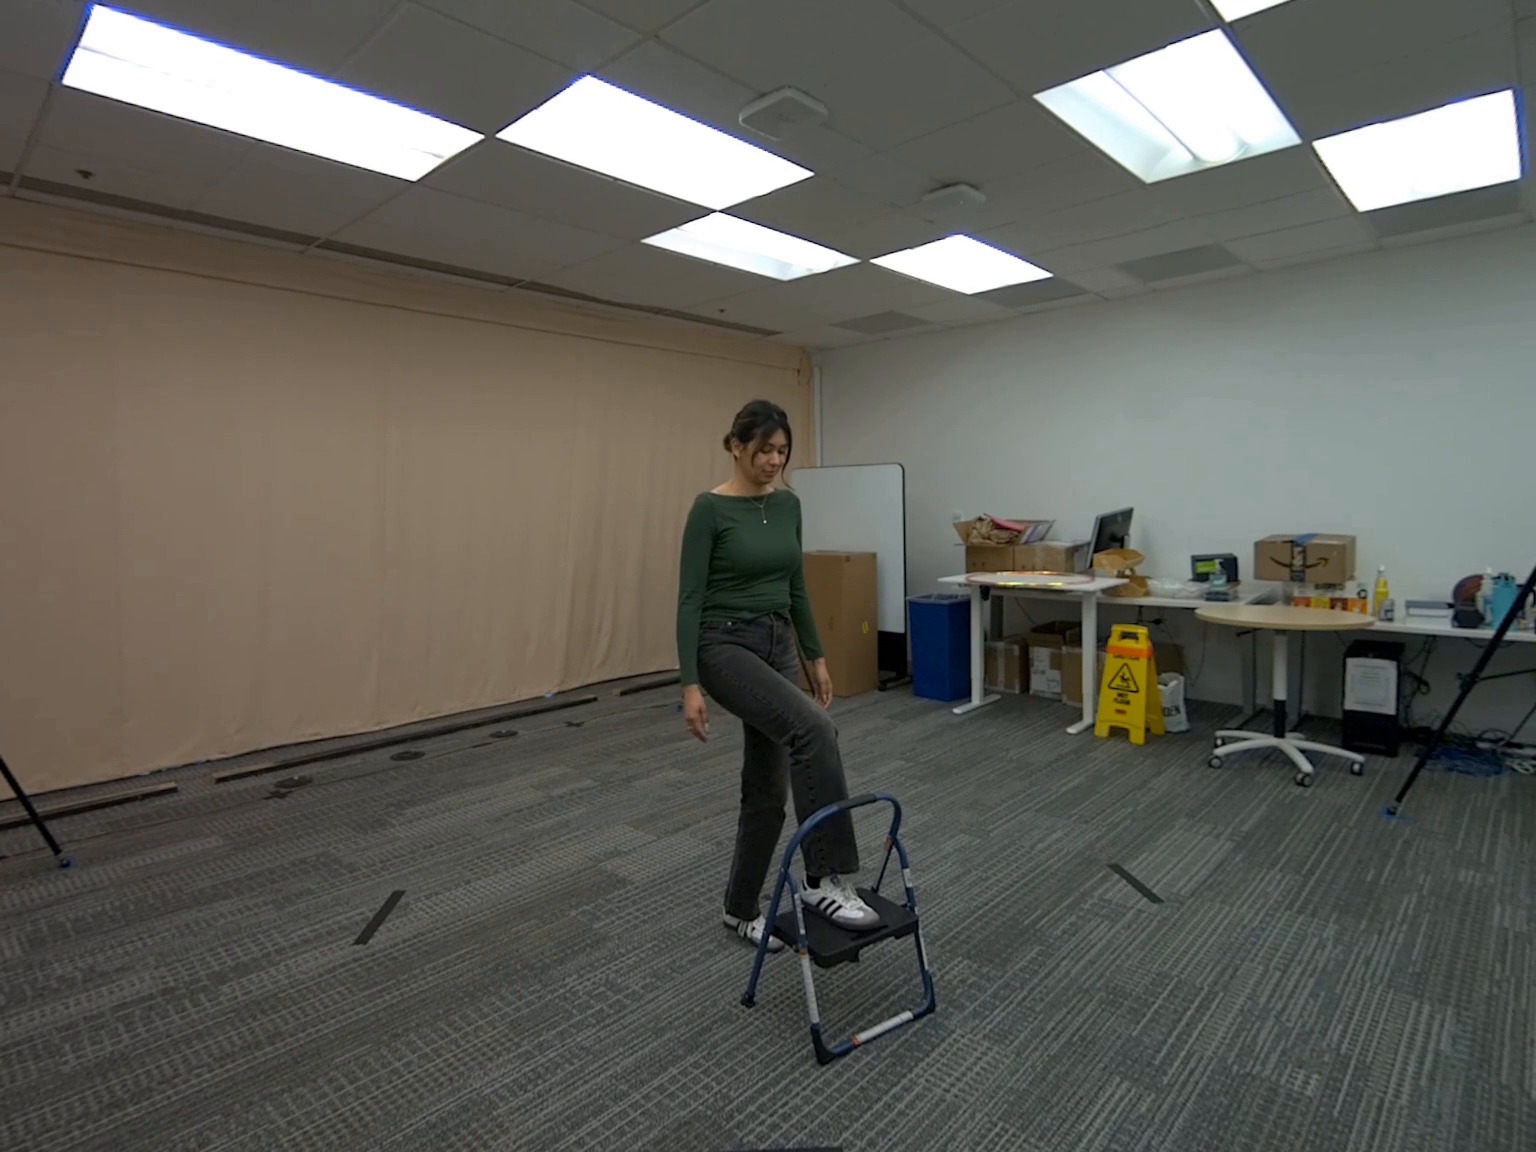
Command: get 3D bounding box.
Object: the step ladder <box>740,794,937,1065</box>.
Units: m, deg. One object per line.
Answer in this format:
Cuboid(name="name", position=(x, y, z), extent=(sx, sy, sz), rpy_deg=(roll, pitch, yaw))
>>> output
Cuboid(name="step ladder", position=(0.197, 0.891, 2.317), extent=(0.418, 0.604, 0.360), rpy_deg=(-4, 5, -36))
